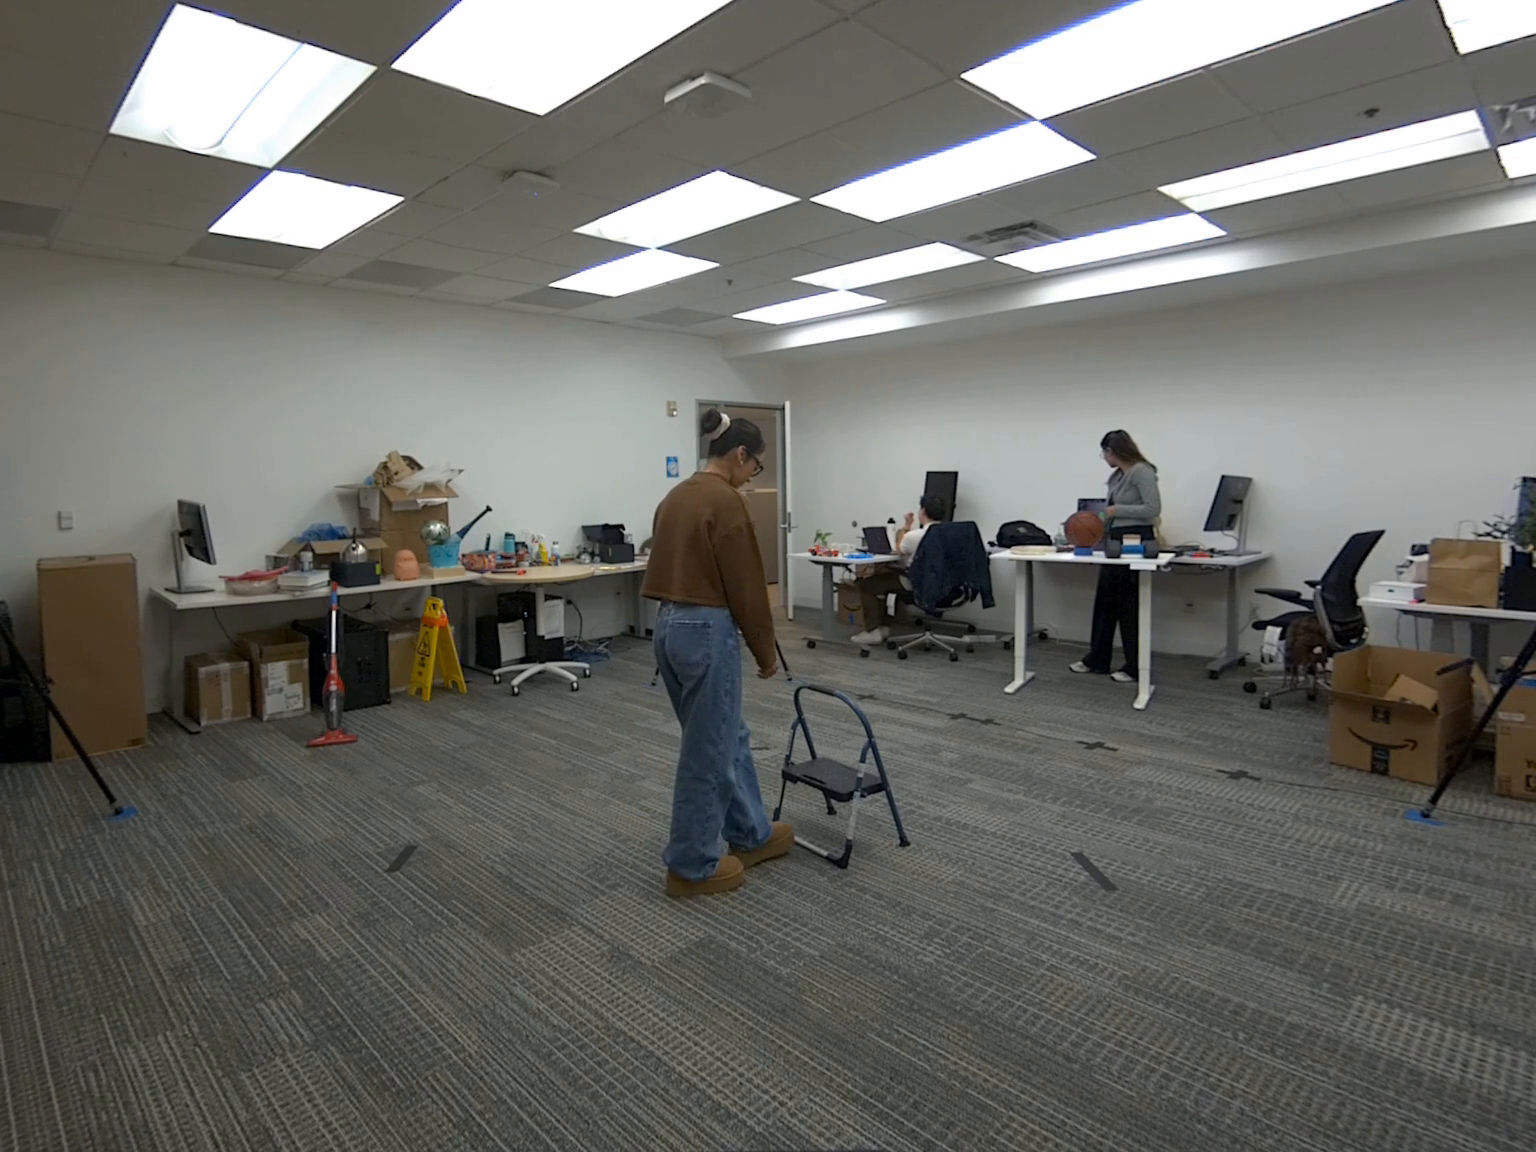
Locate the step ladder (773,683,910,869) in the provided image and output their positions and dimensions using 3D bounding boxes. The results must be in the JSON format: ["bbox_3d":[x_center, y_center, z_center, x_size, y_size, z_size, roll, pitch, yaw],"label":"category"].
[{"bbox_3d":[0.267,0.712,3.291,0.340,0.604,0.444,-5,6,-38],"label":"step ladder"}]
